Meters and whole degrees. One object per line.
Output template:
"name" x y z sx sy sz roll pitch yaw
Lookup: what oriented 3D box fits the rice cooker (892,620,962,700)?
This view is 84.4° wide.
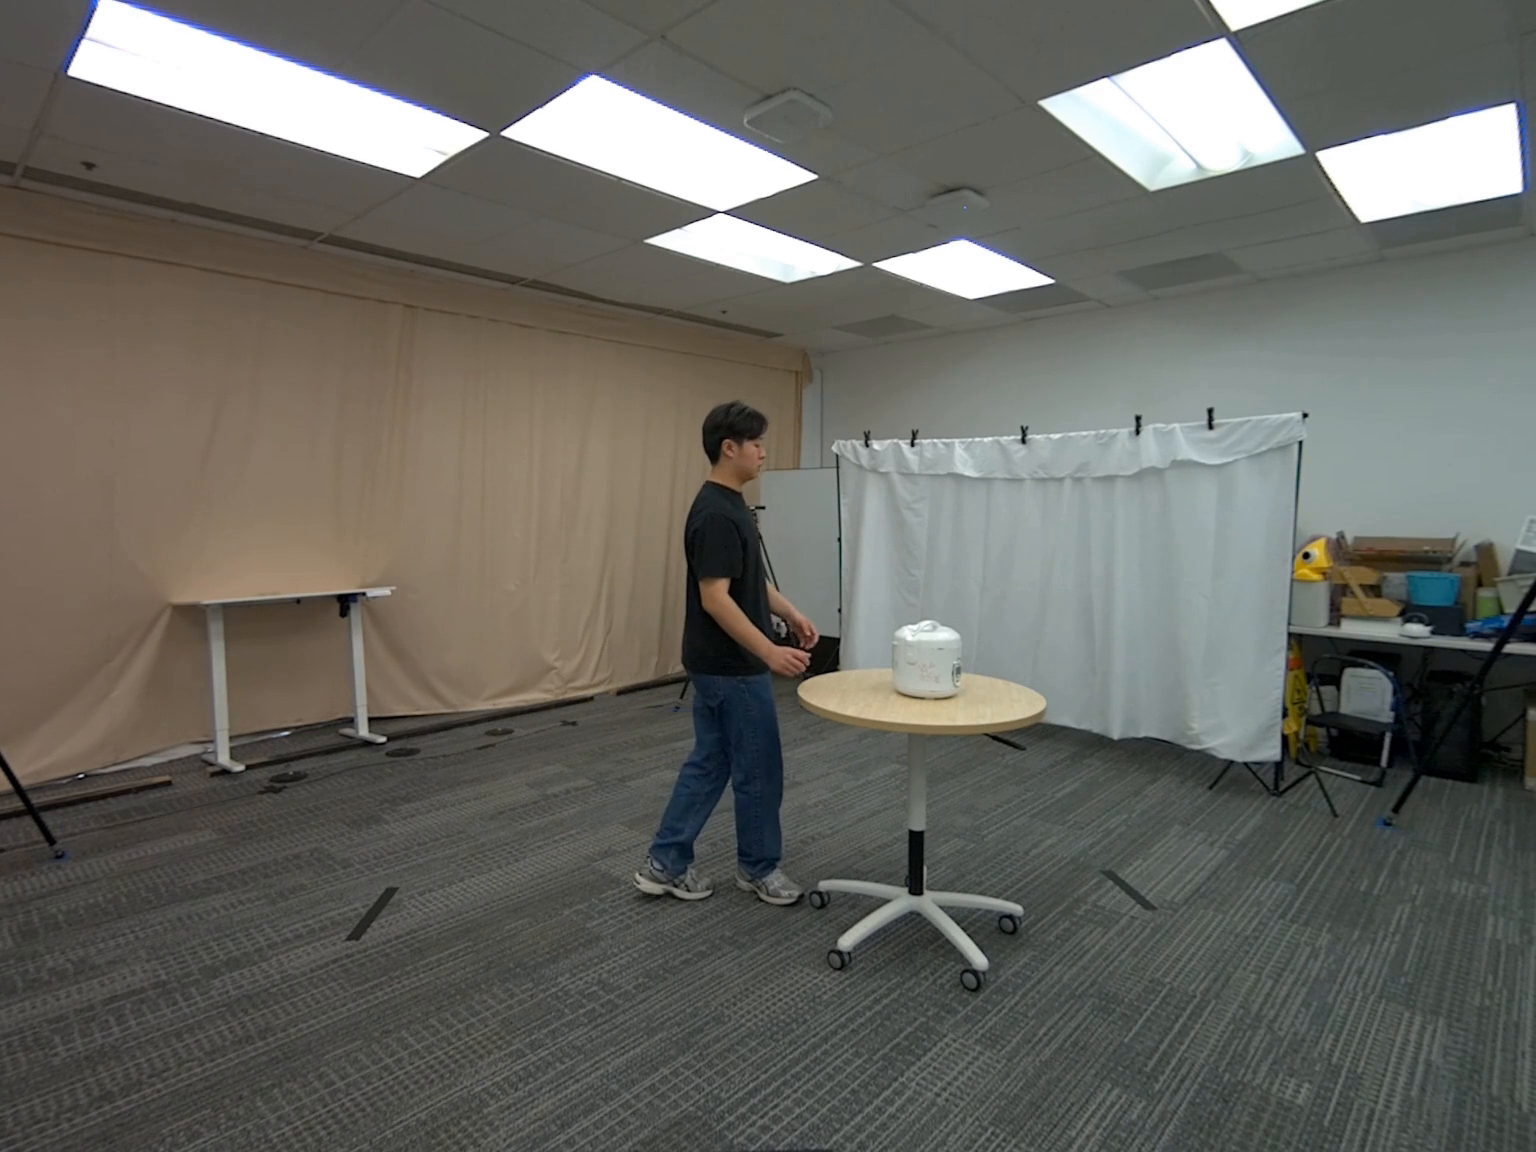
"rice cooker" 0.515 0.260 2.665 0.224 0.232 0.214 2 4 39
